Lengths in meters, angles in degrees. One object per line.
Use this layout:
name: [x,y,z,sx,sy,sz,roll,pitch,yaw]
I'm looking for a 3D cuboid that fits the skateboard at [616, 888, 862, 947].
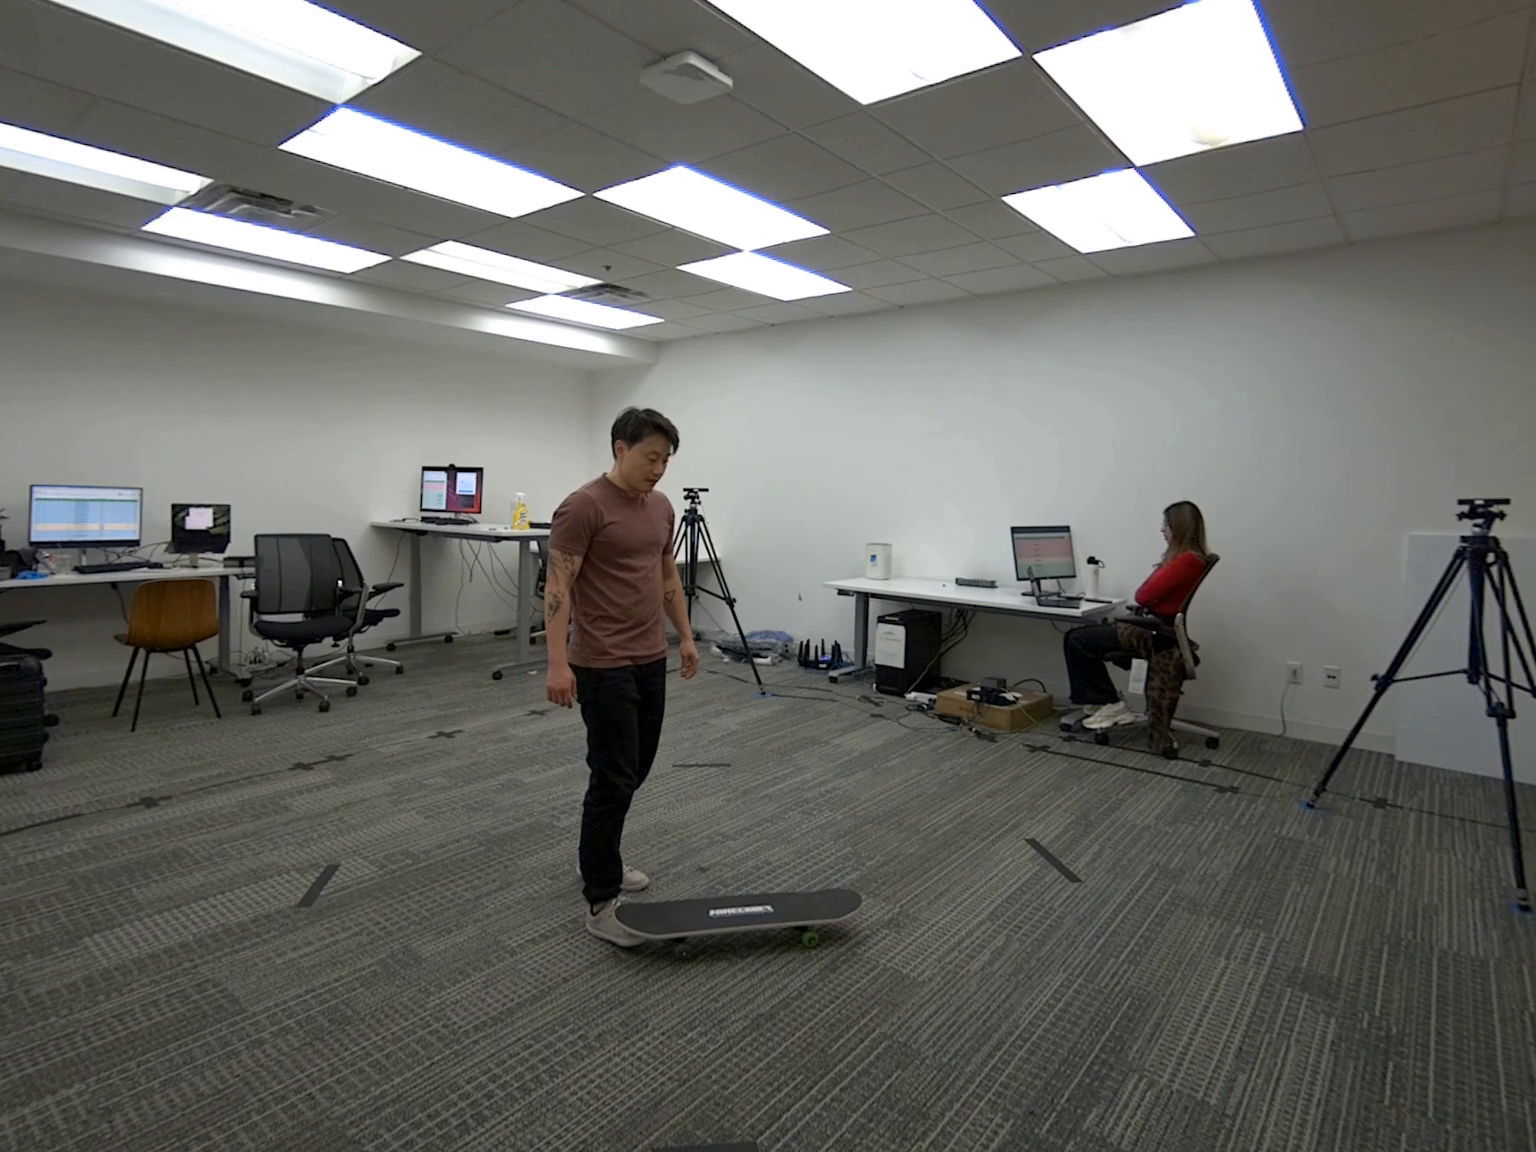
skateboard: [-0.088,1.060,2.613,0.773,0.110,0.197,1,5,-15]
